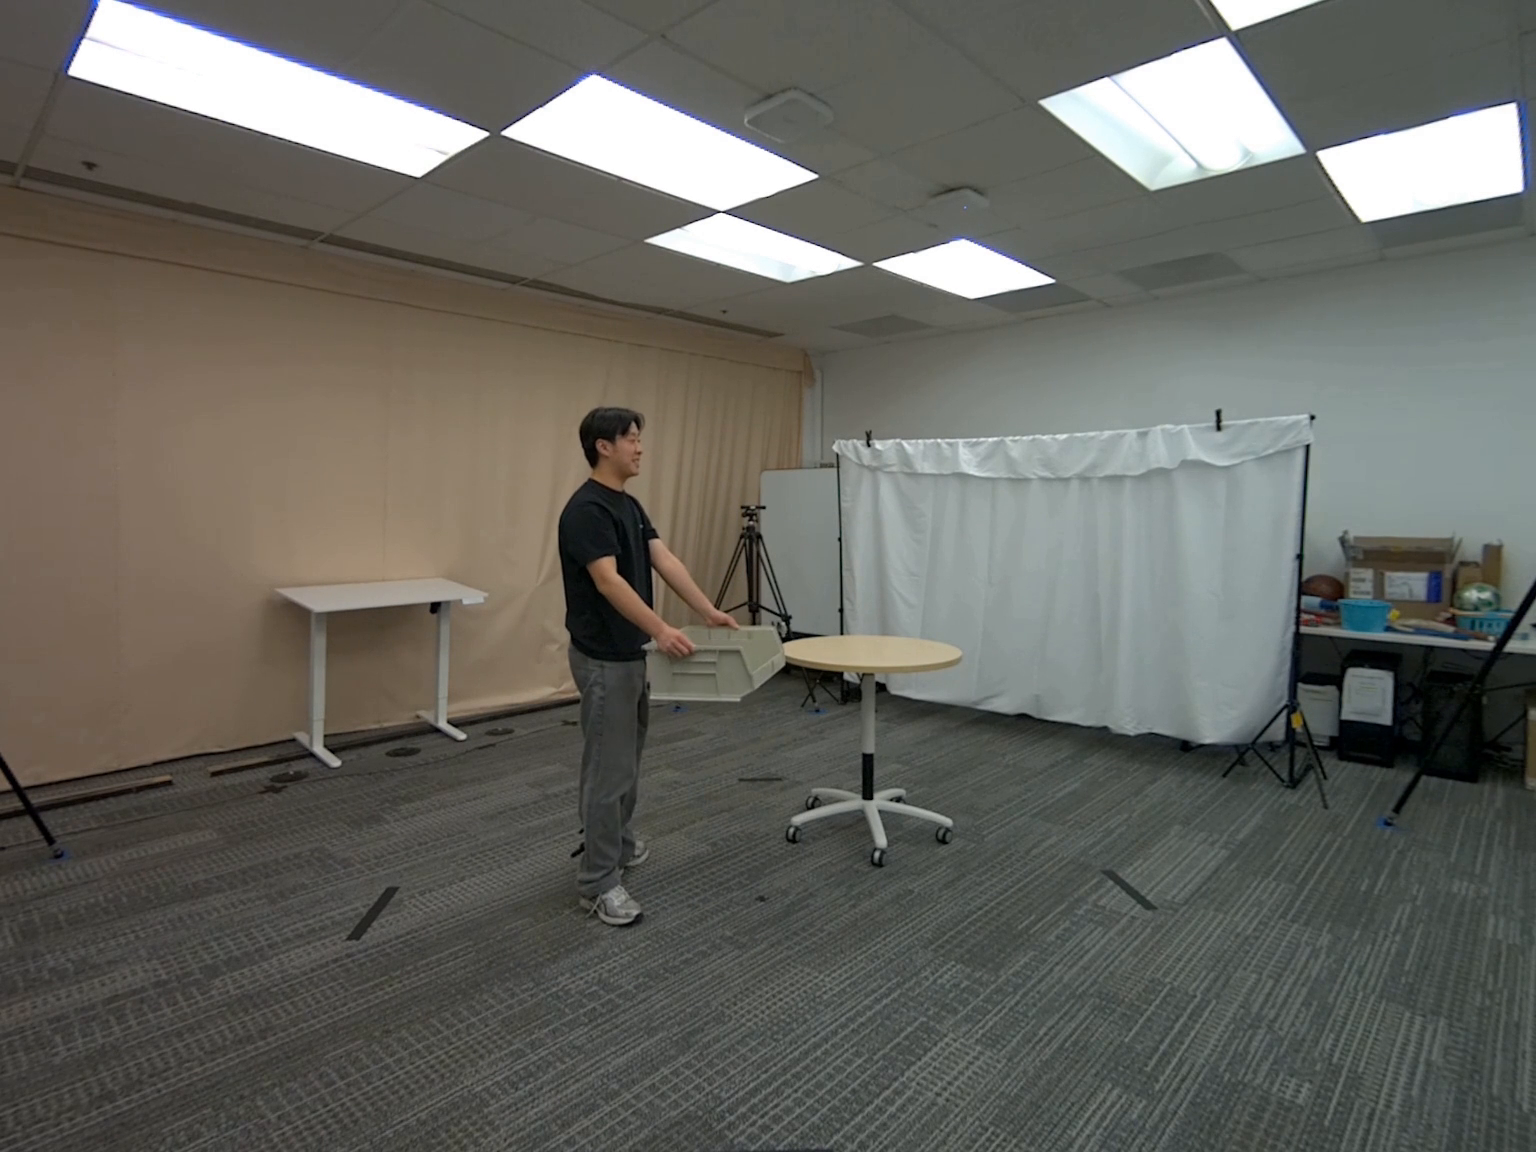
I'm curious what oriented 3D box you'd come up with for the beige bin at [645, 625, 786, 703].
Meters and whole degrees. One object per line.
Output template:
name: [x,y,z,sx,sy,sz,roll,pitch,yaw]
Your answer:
beige bin: [-0.166,0.290,2.909,0.384,0.188,0.416,-3,5,18]
